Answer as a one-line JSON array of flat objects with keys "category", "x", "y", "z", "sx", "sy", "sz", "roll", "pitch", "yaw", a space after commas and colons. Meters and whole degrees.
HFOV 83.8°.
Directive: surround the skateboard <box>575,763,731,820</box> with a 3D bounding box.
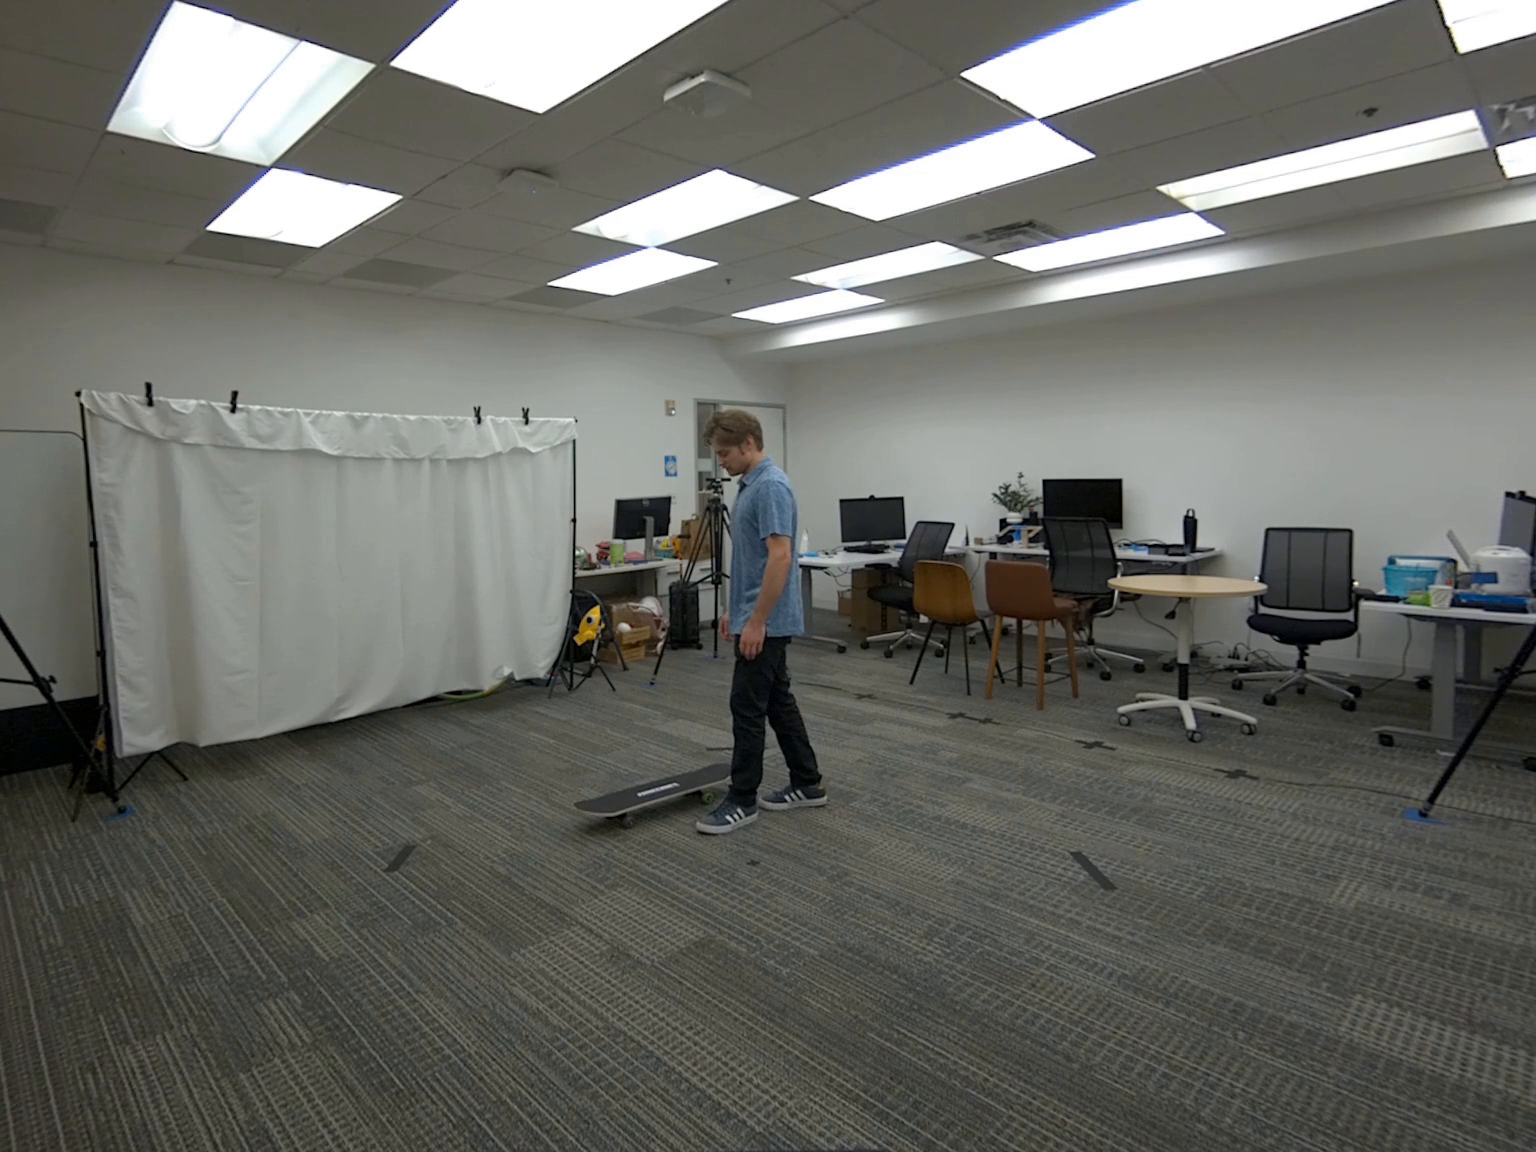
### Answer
[{"category": "skateboard", "x": -0.458, "y": 0.933, "z": 3.622, "sx": 0.765, "sy": 0.110, "sz": 0.199, "roll": -6, "pitch": 7, "yaw": -39}]
